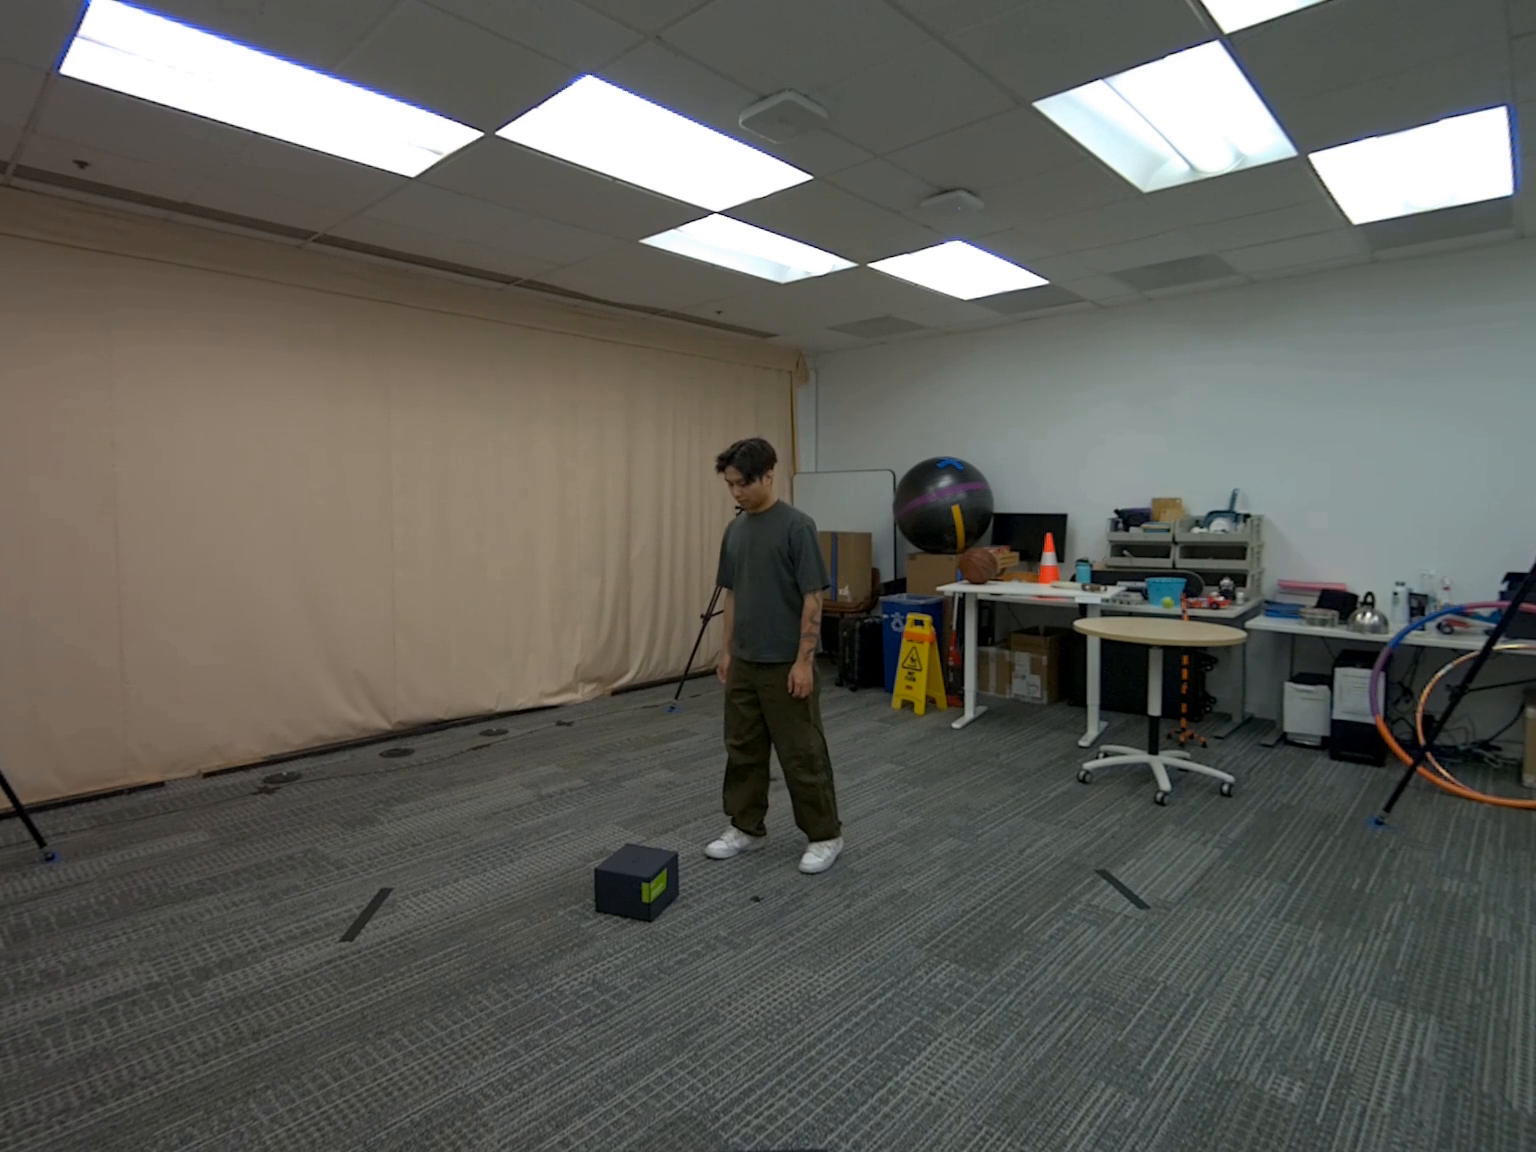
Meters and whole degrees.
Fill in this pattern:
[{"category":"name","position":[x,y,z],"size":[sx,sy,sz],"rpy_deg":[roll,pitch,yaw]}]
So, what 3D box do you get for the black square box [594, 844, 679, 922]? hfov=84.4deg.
[{"category":"black square box","position":[-0.456,1.066,2.948],"size":[0.222,0.155,0.223],"rpy_deg":[1,4,21]}]
